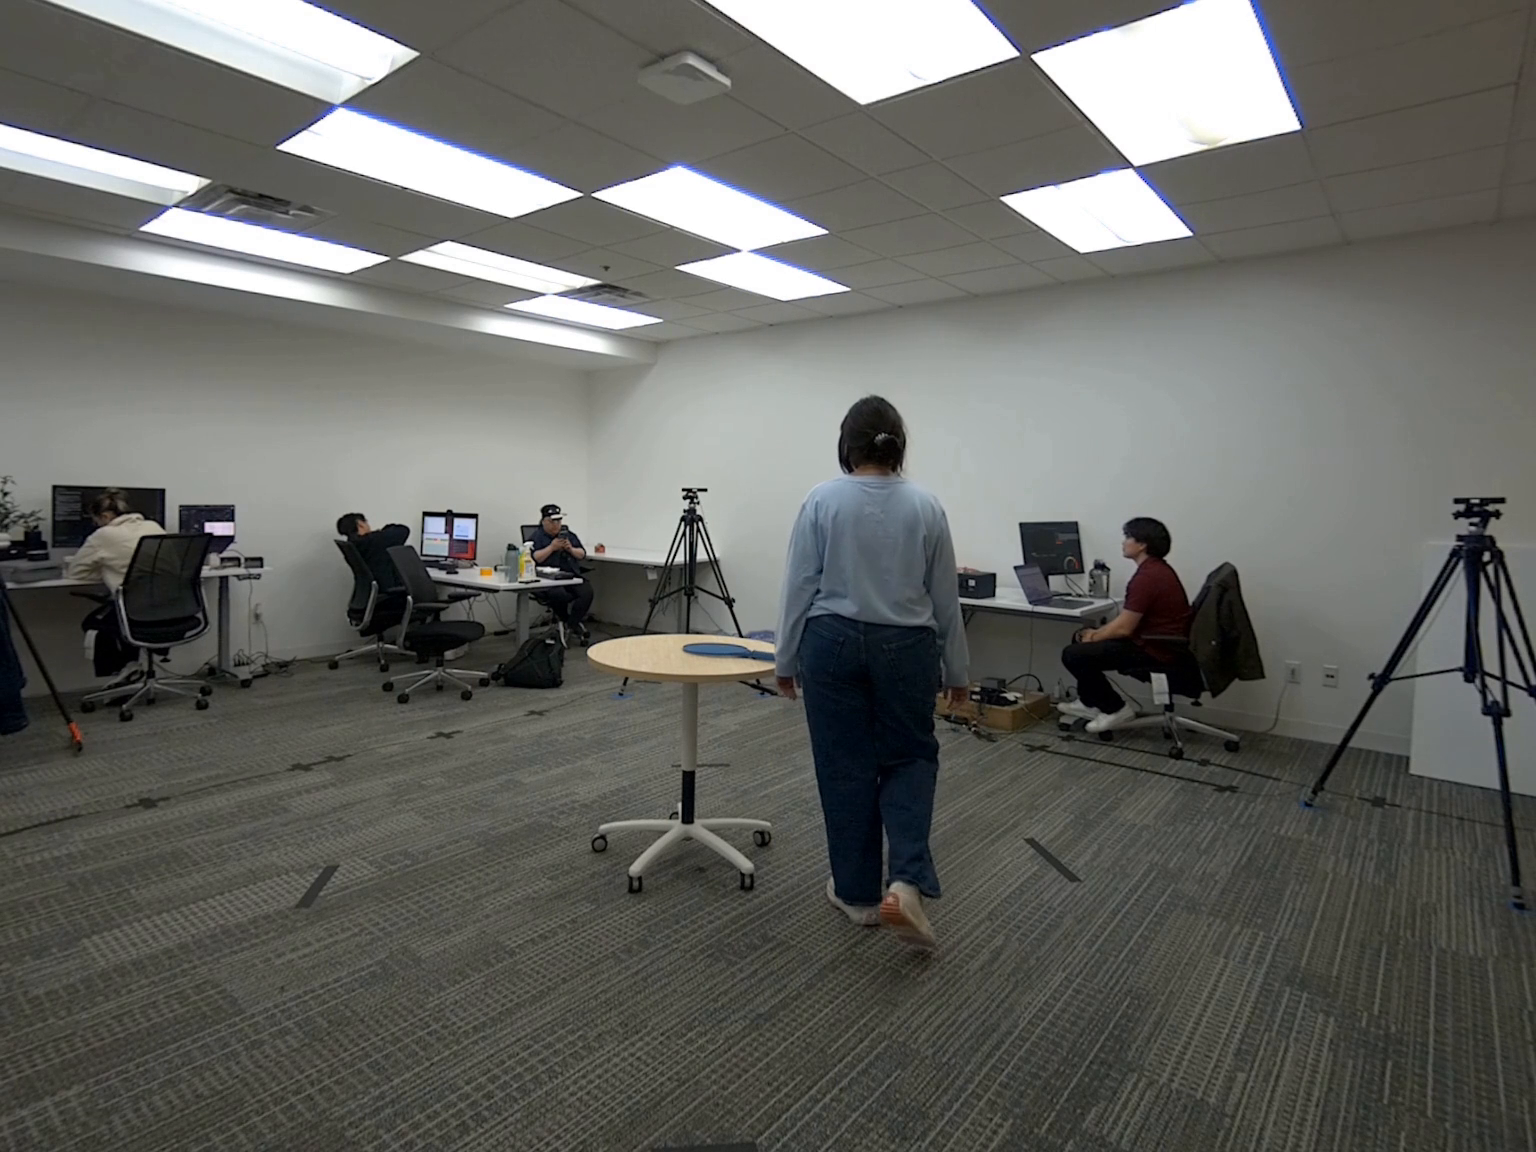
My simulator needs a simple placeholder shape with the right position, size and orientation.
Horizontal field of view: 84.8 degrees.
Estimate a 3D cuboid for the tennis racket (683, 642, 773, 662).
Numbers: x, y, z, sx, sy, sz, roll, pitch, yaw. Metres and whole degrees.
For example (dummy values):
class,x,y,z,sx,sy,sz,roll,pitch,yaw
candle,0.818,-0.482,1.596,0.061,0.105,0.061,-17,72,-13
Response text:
class,x,y,z,sx,sy,sz,roll,pitch,yaw
tennis racket,-0.147,0.280,3.128,0.447,0.031,0.208,4,8,39
